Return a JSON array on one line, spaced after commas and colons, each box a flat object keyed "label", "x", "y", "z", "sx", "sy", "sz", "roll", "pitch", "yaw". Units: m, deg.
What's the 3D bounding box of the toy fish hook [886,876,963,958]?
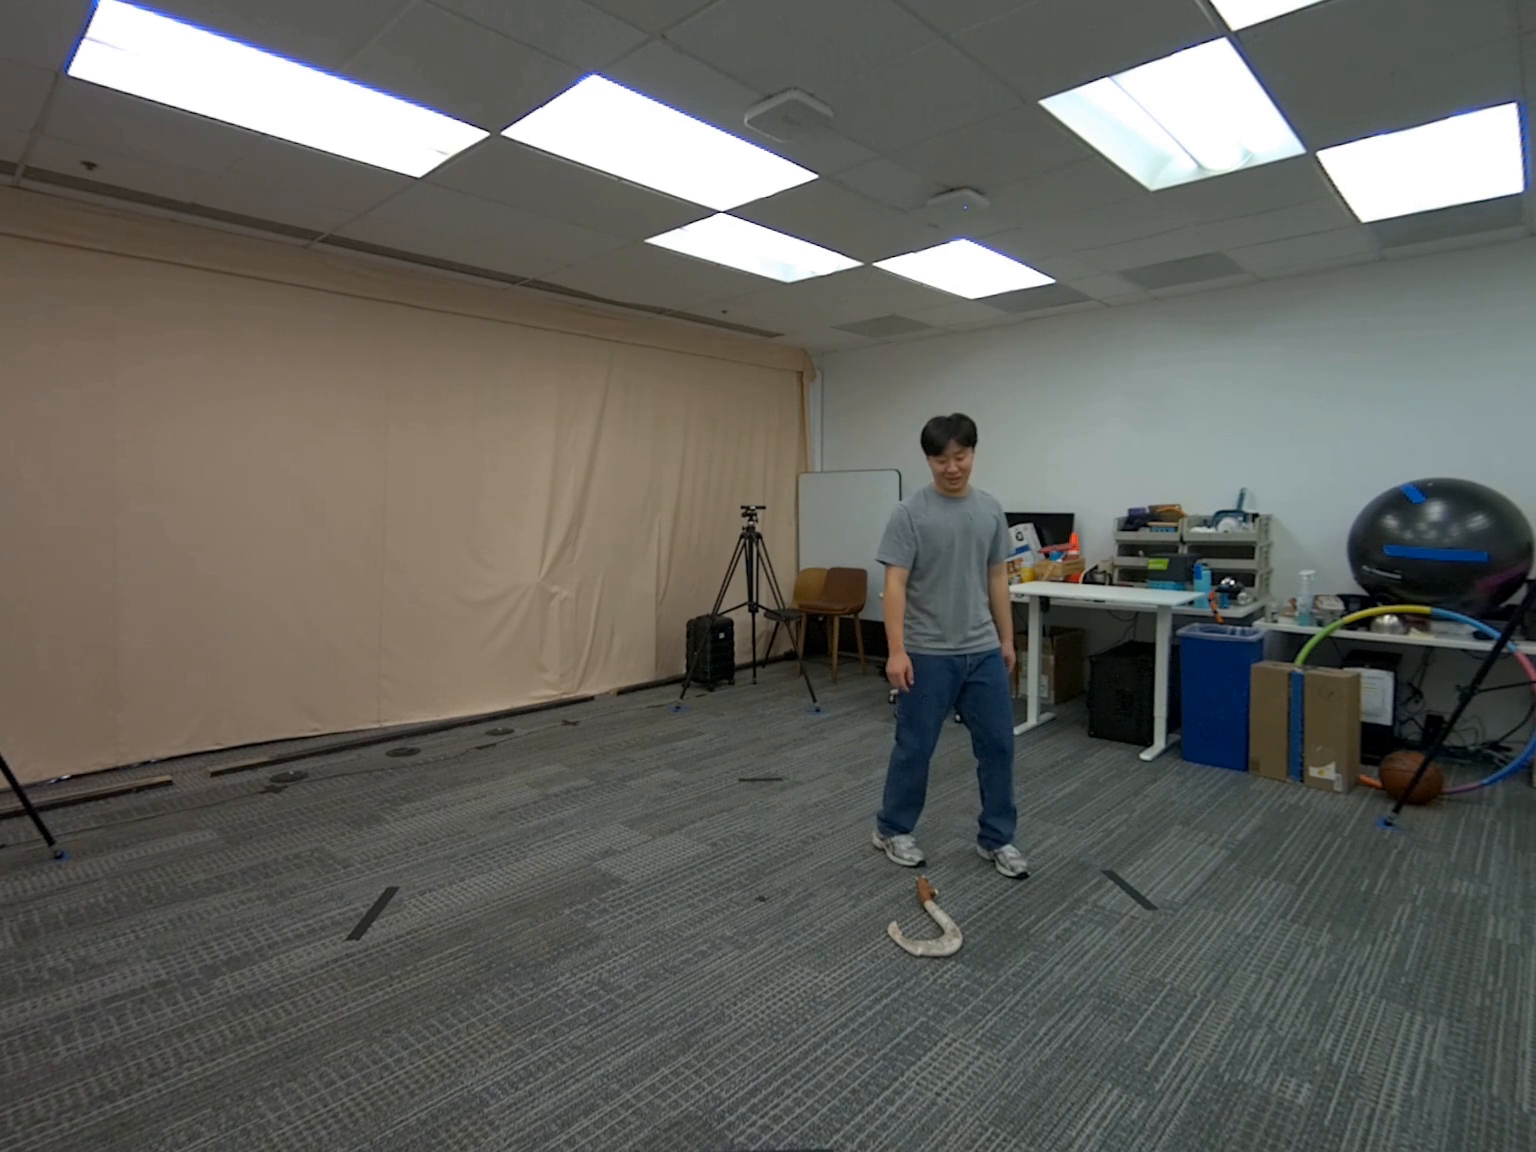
[{"label": "toy fish hook", "x": 0.508, "y": 1.131, "z": 2.827, "sx": 0.225, "sy": 0.048, "sz": 0.506, "roll": 1, "pitch": 4, "yaw": 1}]
